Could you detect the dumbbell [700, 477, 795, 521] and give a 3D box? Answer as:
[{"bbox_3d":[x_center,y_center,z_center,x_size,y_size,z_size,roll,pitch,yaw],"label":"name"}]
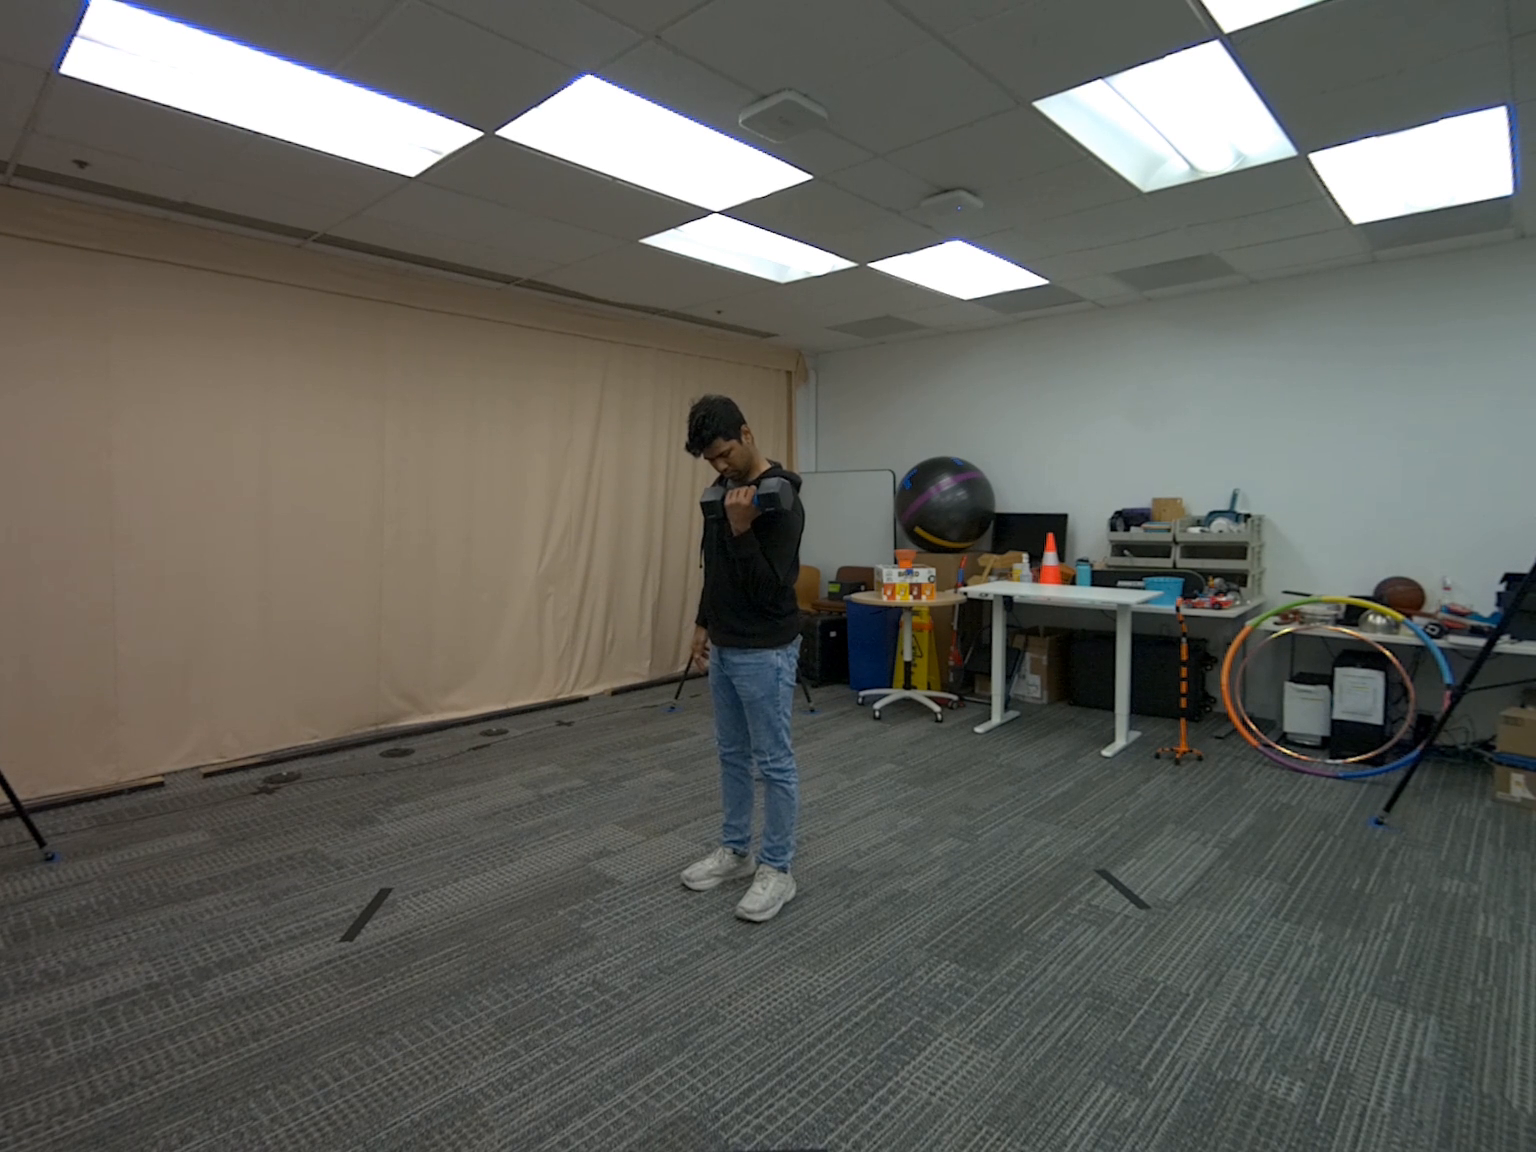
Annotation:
[{"bbox_3d":[-0.073,-0.226,2.651,0.302,0.124,0.105,-4,-38,32],"label":"dumbbell"}]
